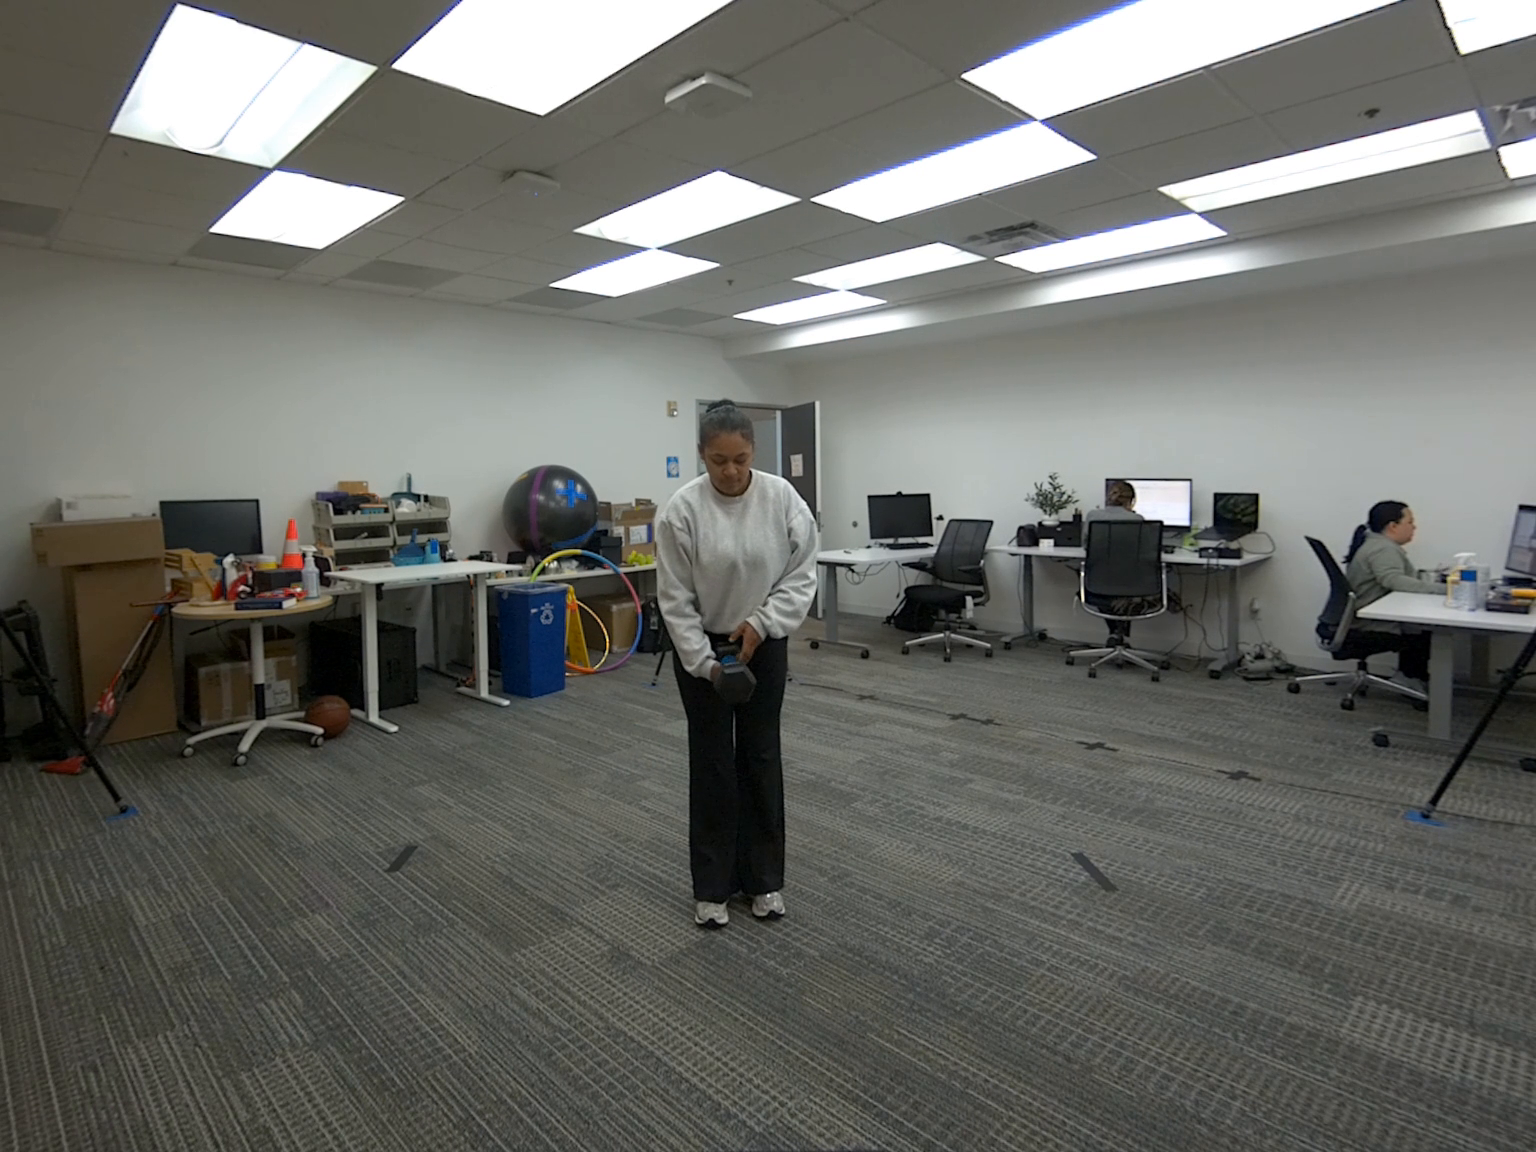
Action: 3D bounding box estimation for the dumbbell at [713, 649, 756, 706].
[{"bbox_3d":[-0.116,0.294,2.576,0.109,0.121,0.298,-35,13,0],"label":"dumbbell"}]
